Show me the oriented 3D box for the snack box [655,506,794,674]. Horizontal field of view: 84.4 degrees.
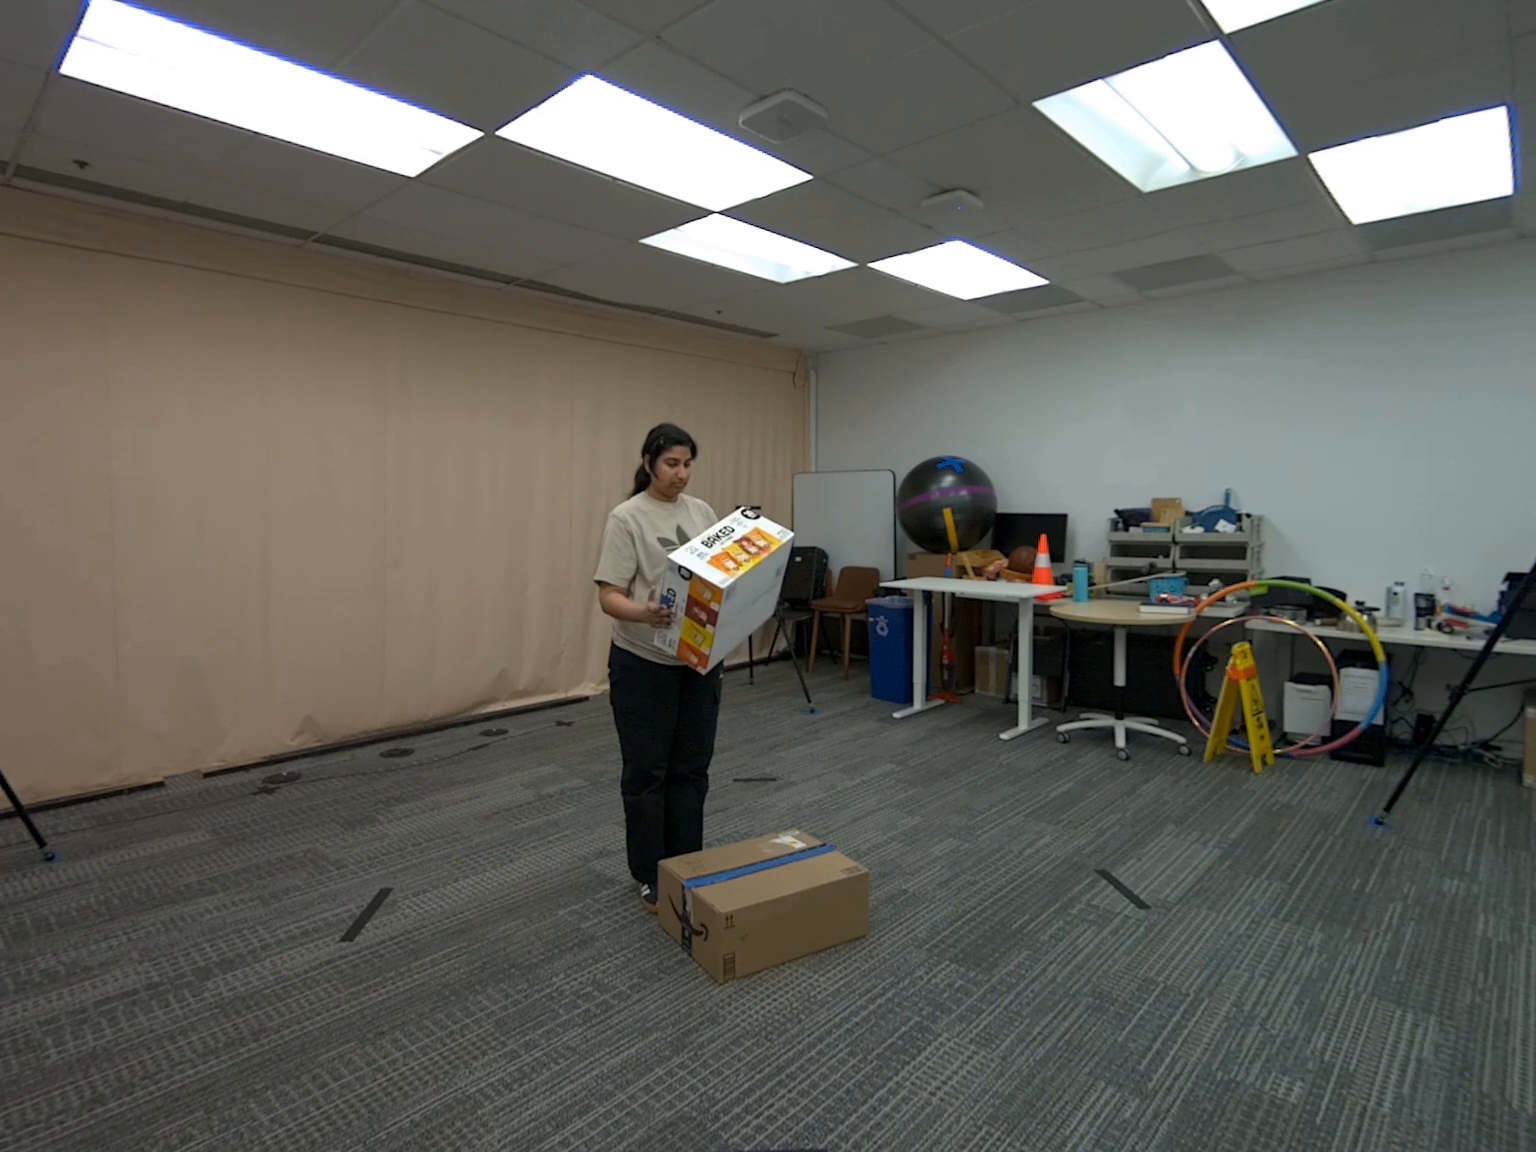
[{"bbox_3d":[-0.129,0.041,2.619,0.211,0.336,0.399,28,38,20],"label":"snack box"}]
